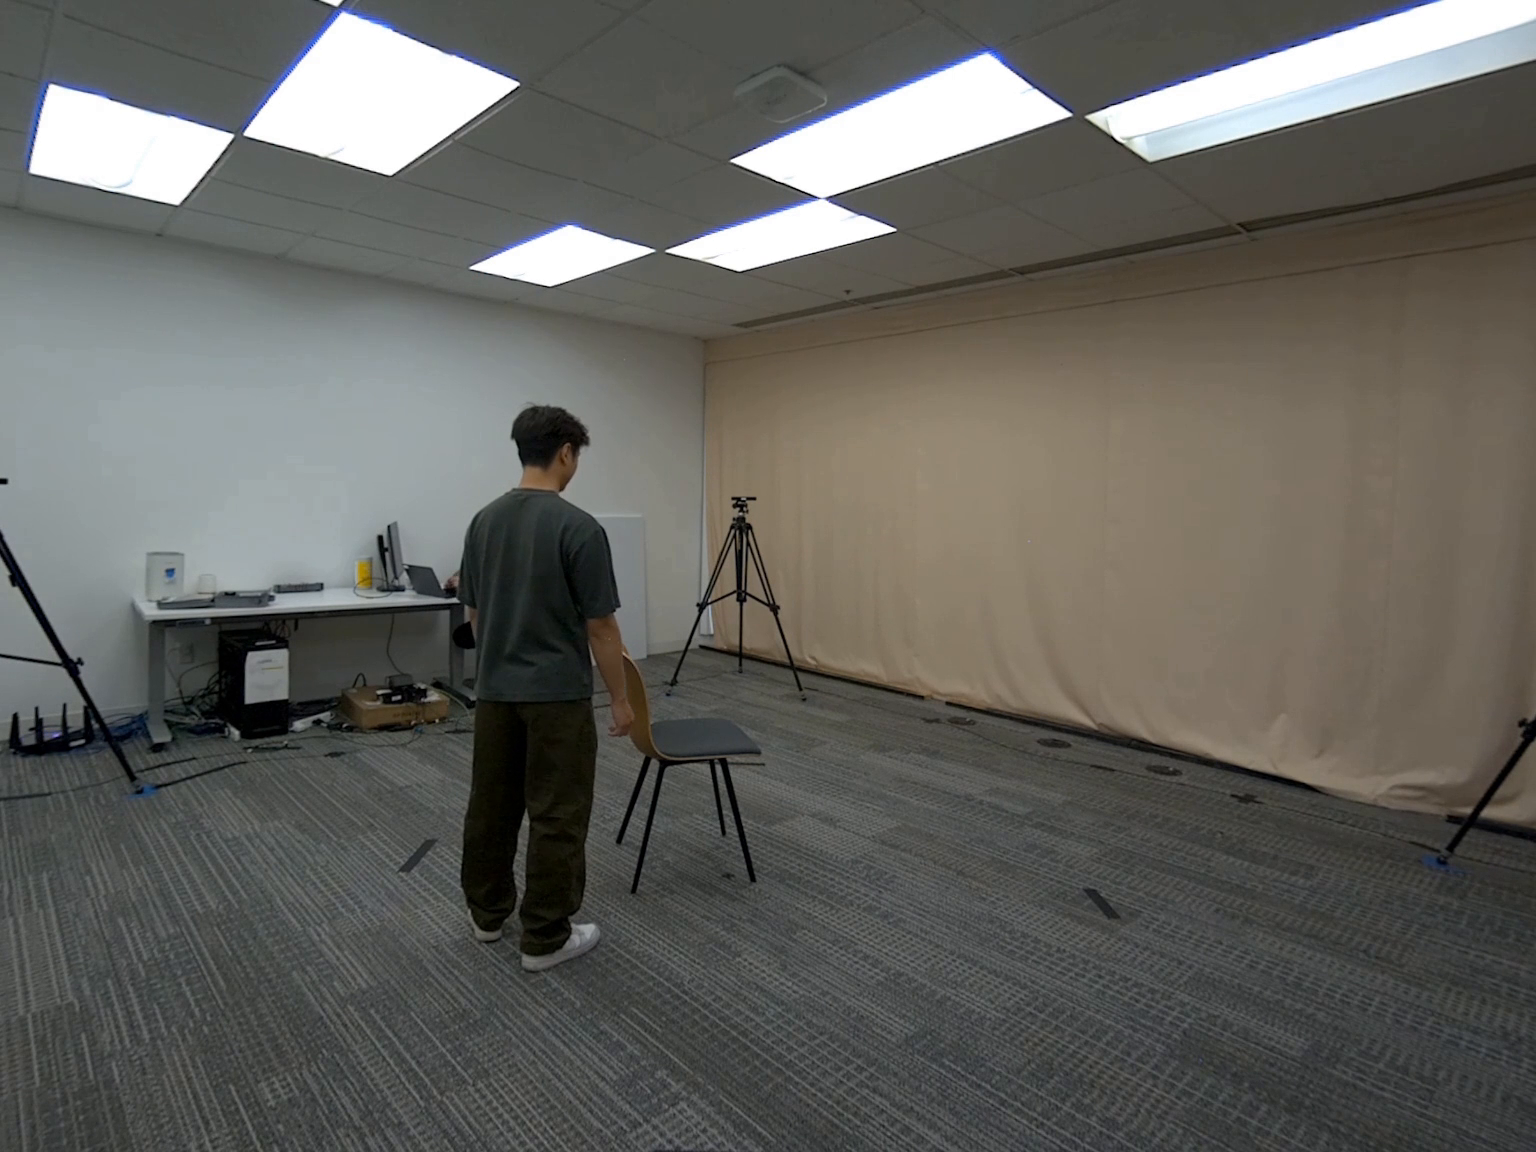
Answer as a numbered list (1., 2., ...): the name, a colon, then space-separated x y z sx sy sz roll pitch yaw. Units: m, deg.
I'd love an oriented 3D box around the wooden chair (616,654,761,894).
1. wooden chair: -0.313 0.668 3.187 0.517 0.875 0.485 -4 4 -16
